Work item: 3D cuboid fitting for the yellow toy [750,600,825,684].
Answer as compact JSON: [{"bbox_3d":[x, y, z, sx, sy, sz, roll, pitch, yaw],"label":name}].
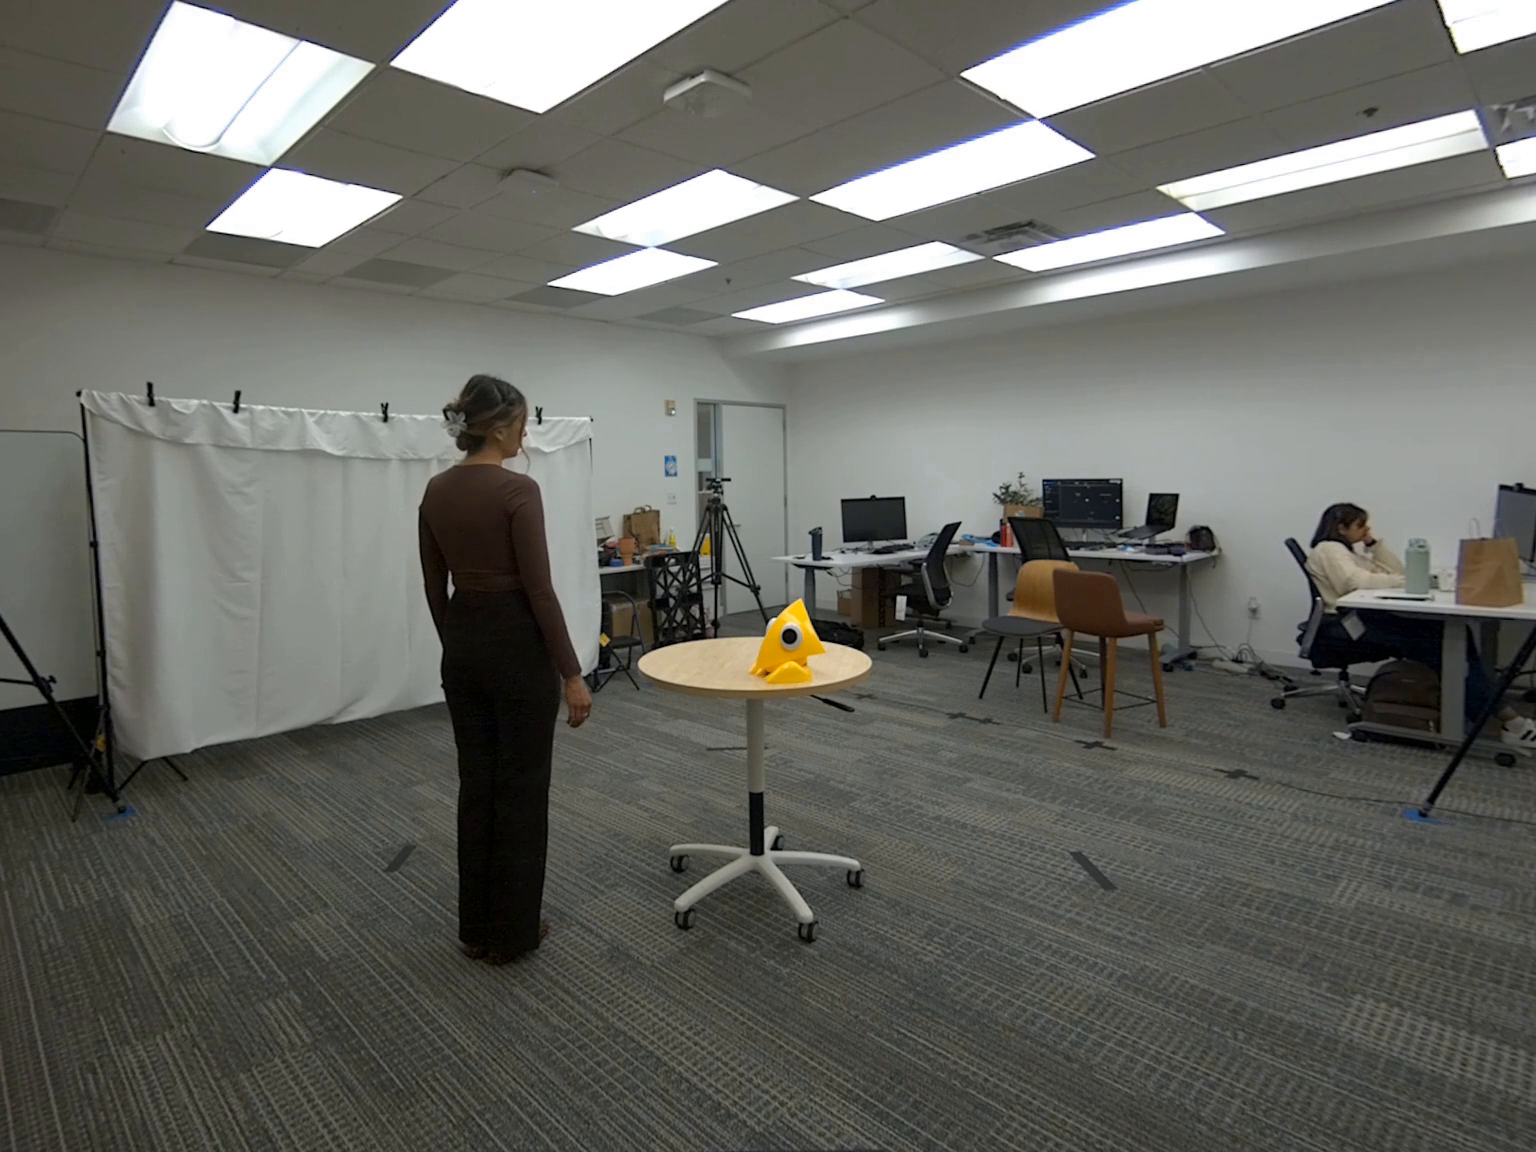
[{"bbox_3d":[0.053,0.191,2.604,0.189,0.229,0.210,-3,6,-24],"label":"yellow toy"}]
